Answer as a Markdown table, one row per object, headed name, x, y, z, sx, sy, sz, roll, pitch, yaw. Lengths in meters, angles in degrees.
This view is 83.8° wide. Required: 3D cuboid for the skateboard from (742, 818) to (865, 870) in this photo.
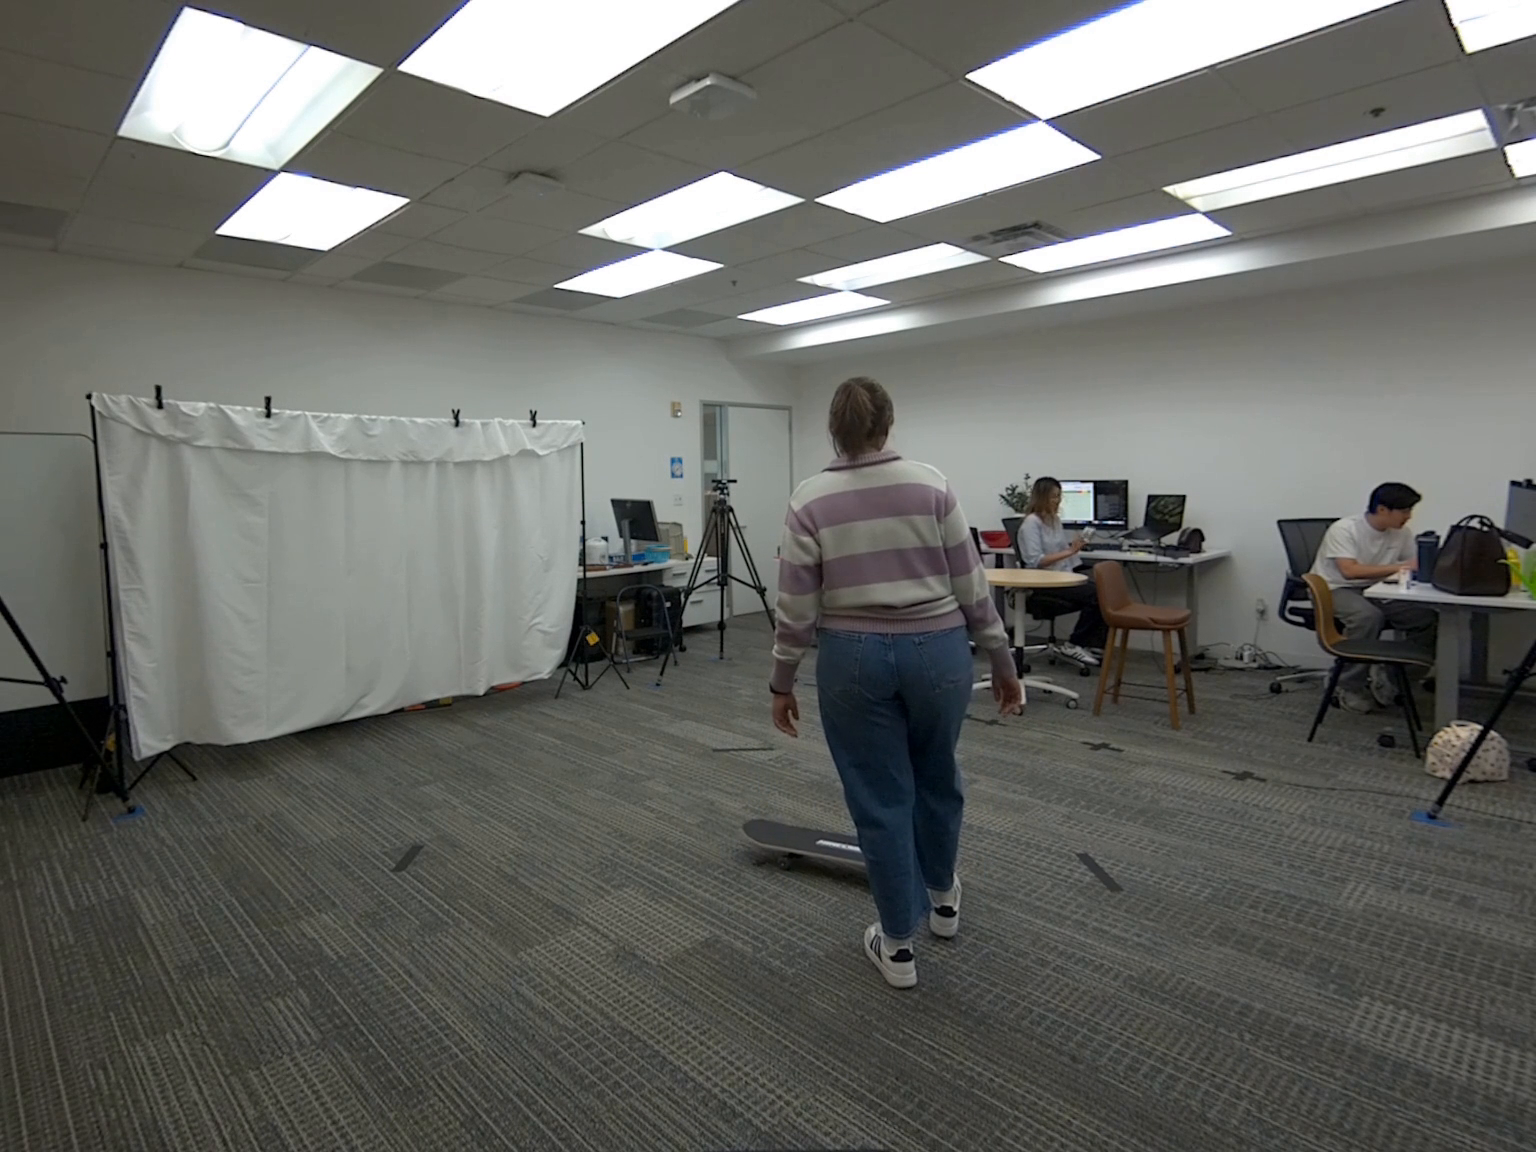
| name | x | y | z | sx | sy | sz | roll | pitch | yaw |
| --- | --- | --- | --- | --- | --- | --- | --- | --- | --- |
| skateboard | 0.269 | 0.993 | 3.027 | 0.805 | 0.110 | 0.190 | 2 | 7 | 27 |
